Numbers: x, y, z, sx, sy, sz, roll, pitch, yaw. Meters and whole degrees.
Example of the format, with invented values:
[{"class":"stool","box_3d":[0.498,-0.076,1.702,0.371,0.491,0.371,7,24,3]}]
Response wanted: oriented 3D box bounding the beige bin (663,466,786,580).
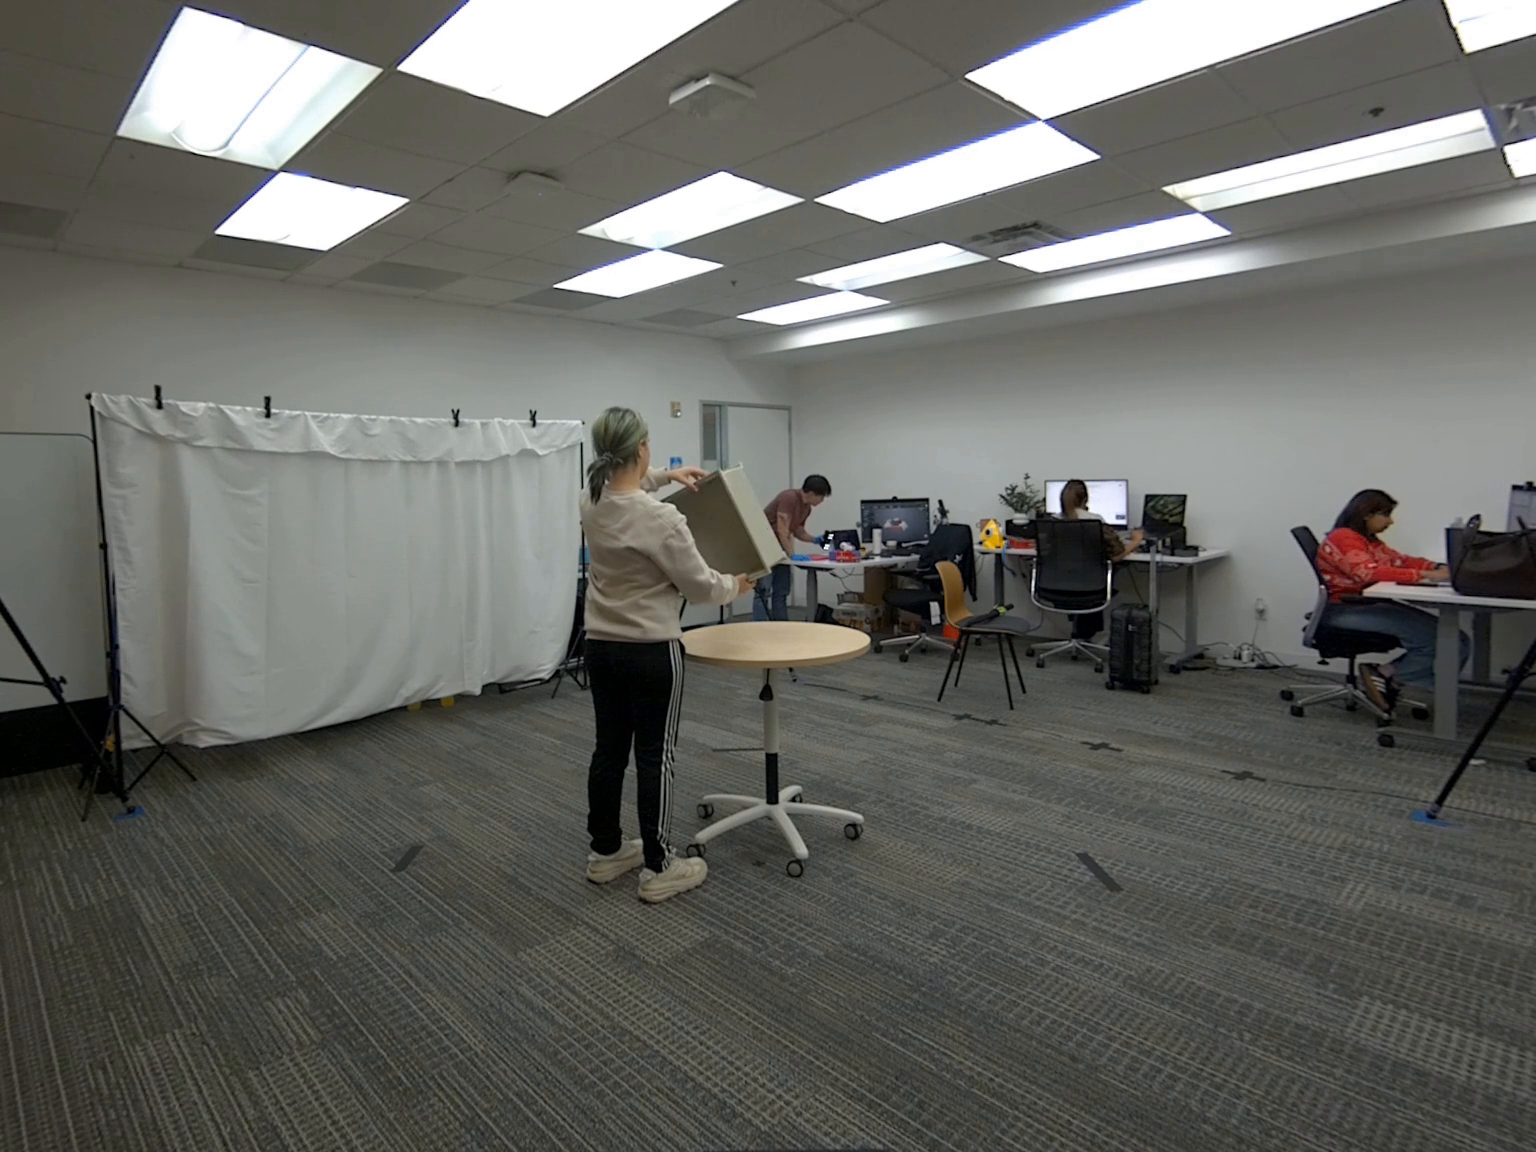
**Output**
[{"class":"beige bin","box_3d":[-0.185,-0.163,3.261,0.382,0.422,0.186,-25,1,34]}]
